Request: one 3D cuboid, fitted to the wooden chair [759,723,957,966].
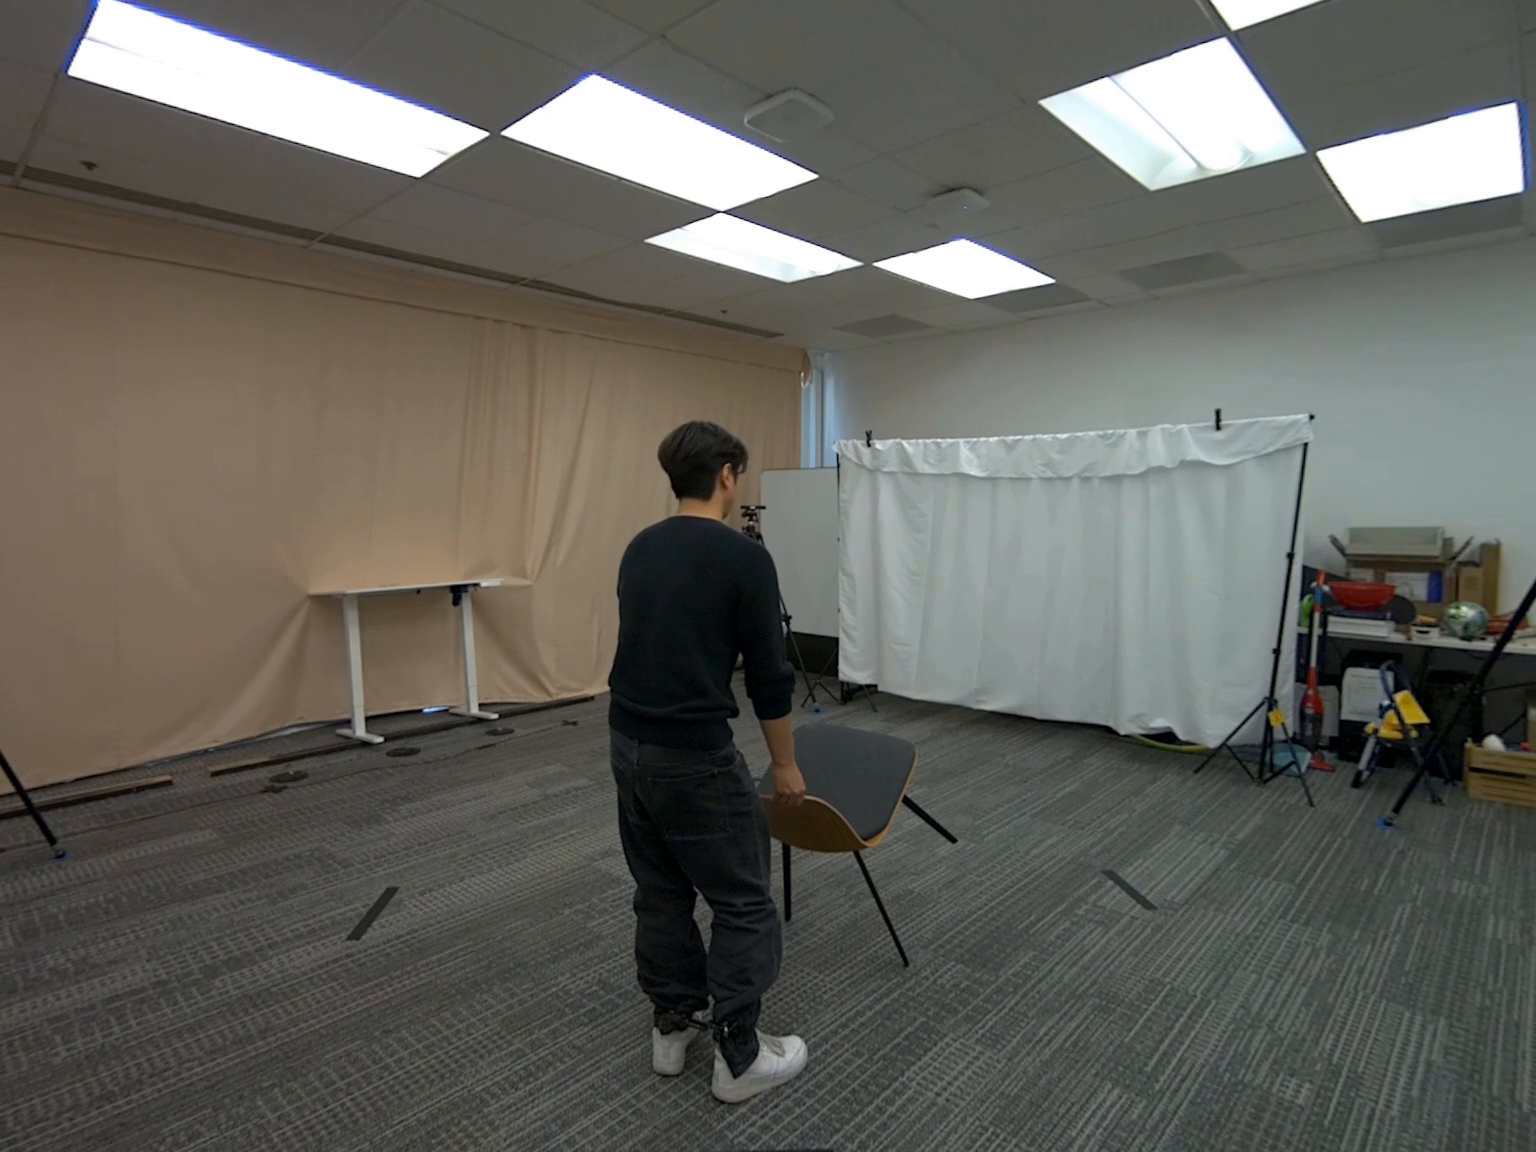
[{"bbox_3d":[0.208,0.693,2.609,0.494,0.851,0.522,3,46,38],"label":"wooden chair"}]
